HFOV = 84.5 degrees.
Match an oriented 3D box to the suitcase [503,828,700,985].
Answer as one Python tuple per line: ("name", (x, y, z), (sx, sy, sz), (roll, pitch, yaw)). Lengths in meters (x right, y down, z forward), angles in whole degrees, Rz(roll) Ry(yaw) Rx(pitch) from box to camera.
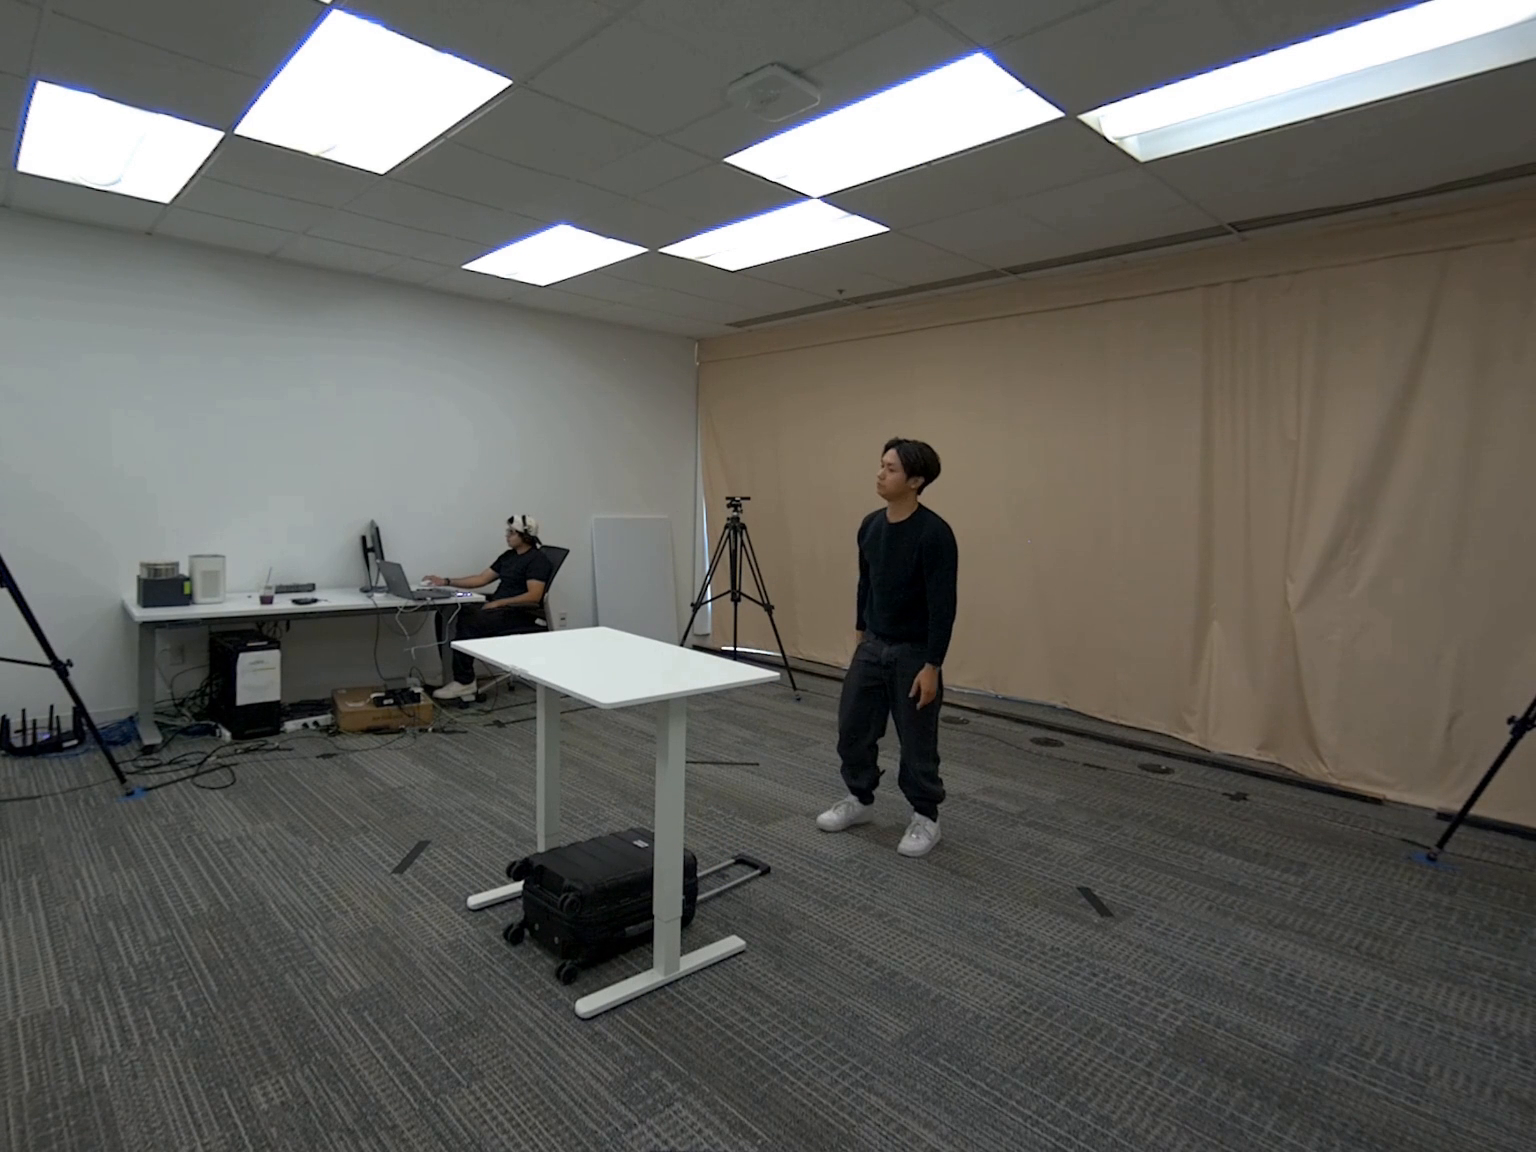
("suitcase", (-0.375, 1.001, 2.831), (0.394, 0.256, 0.956), (5, 6, 43))
